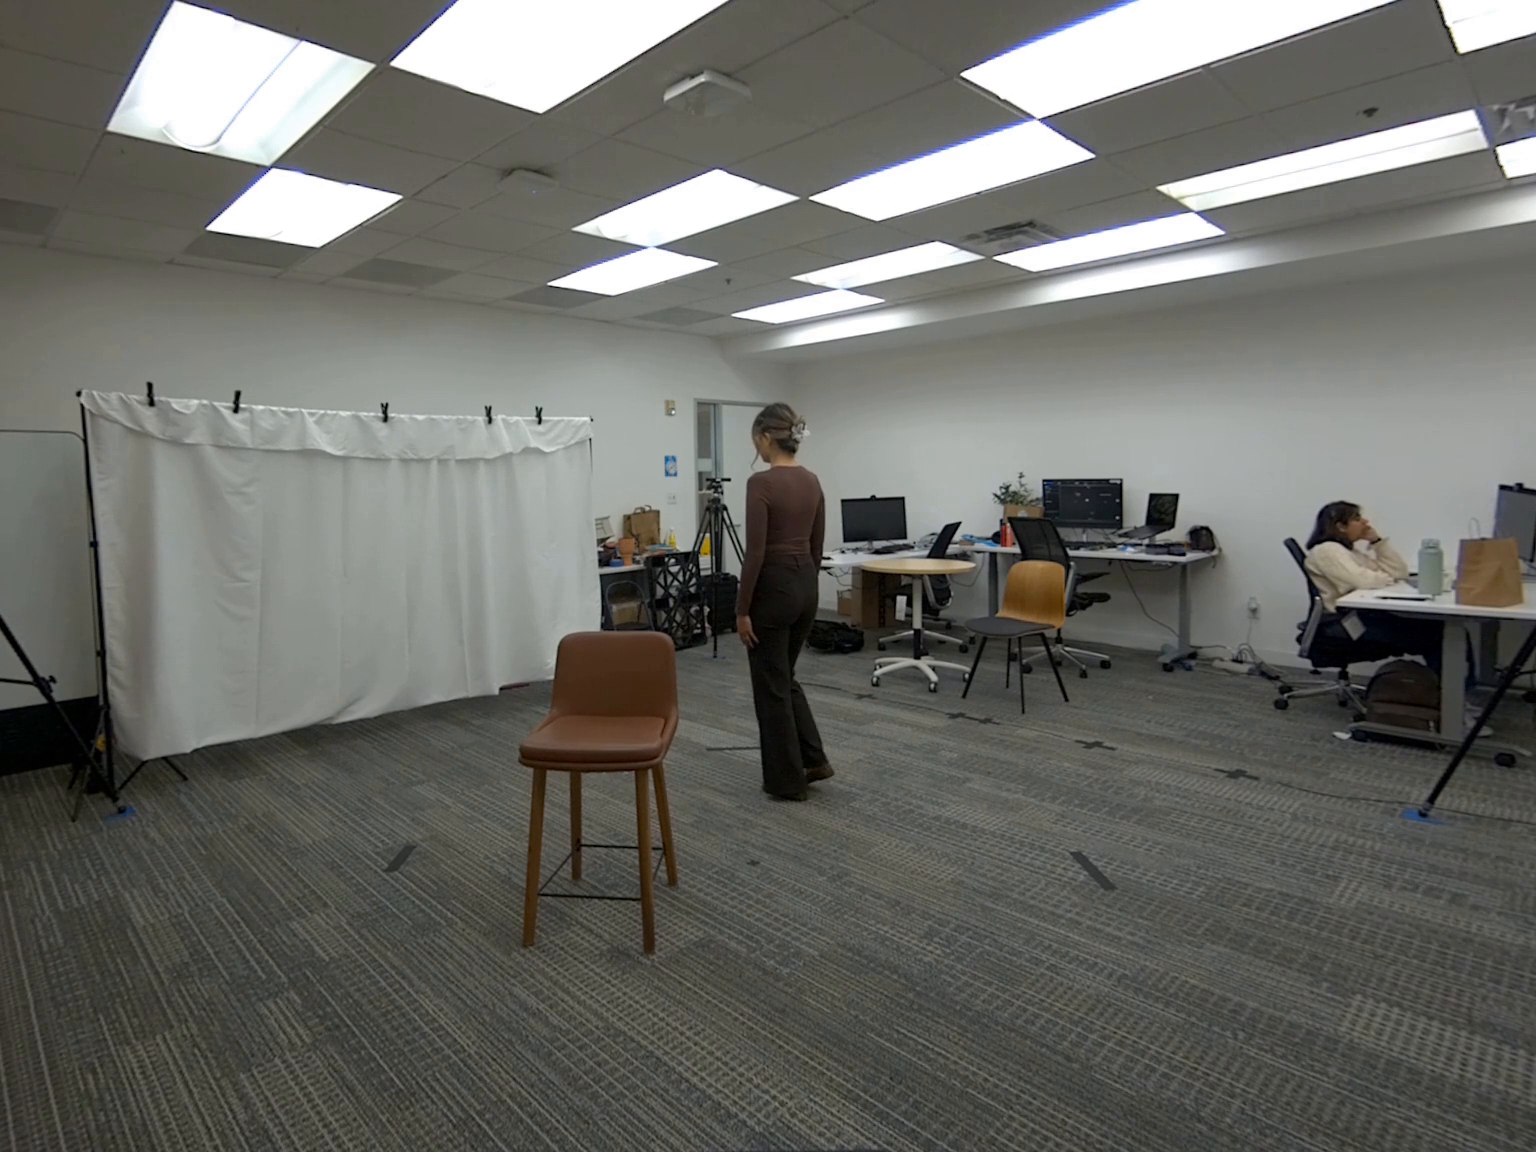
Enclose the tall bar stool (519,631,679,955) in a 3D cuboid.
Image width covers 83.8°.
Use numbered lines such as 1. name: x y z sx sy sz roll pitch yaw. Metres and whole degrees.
1. tall bar stool: -0.526 0.658 2.746 0.460 0.887 0.465 0 3 7
